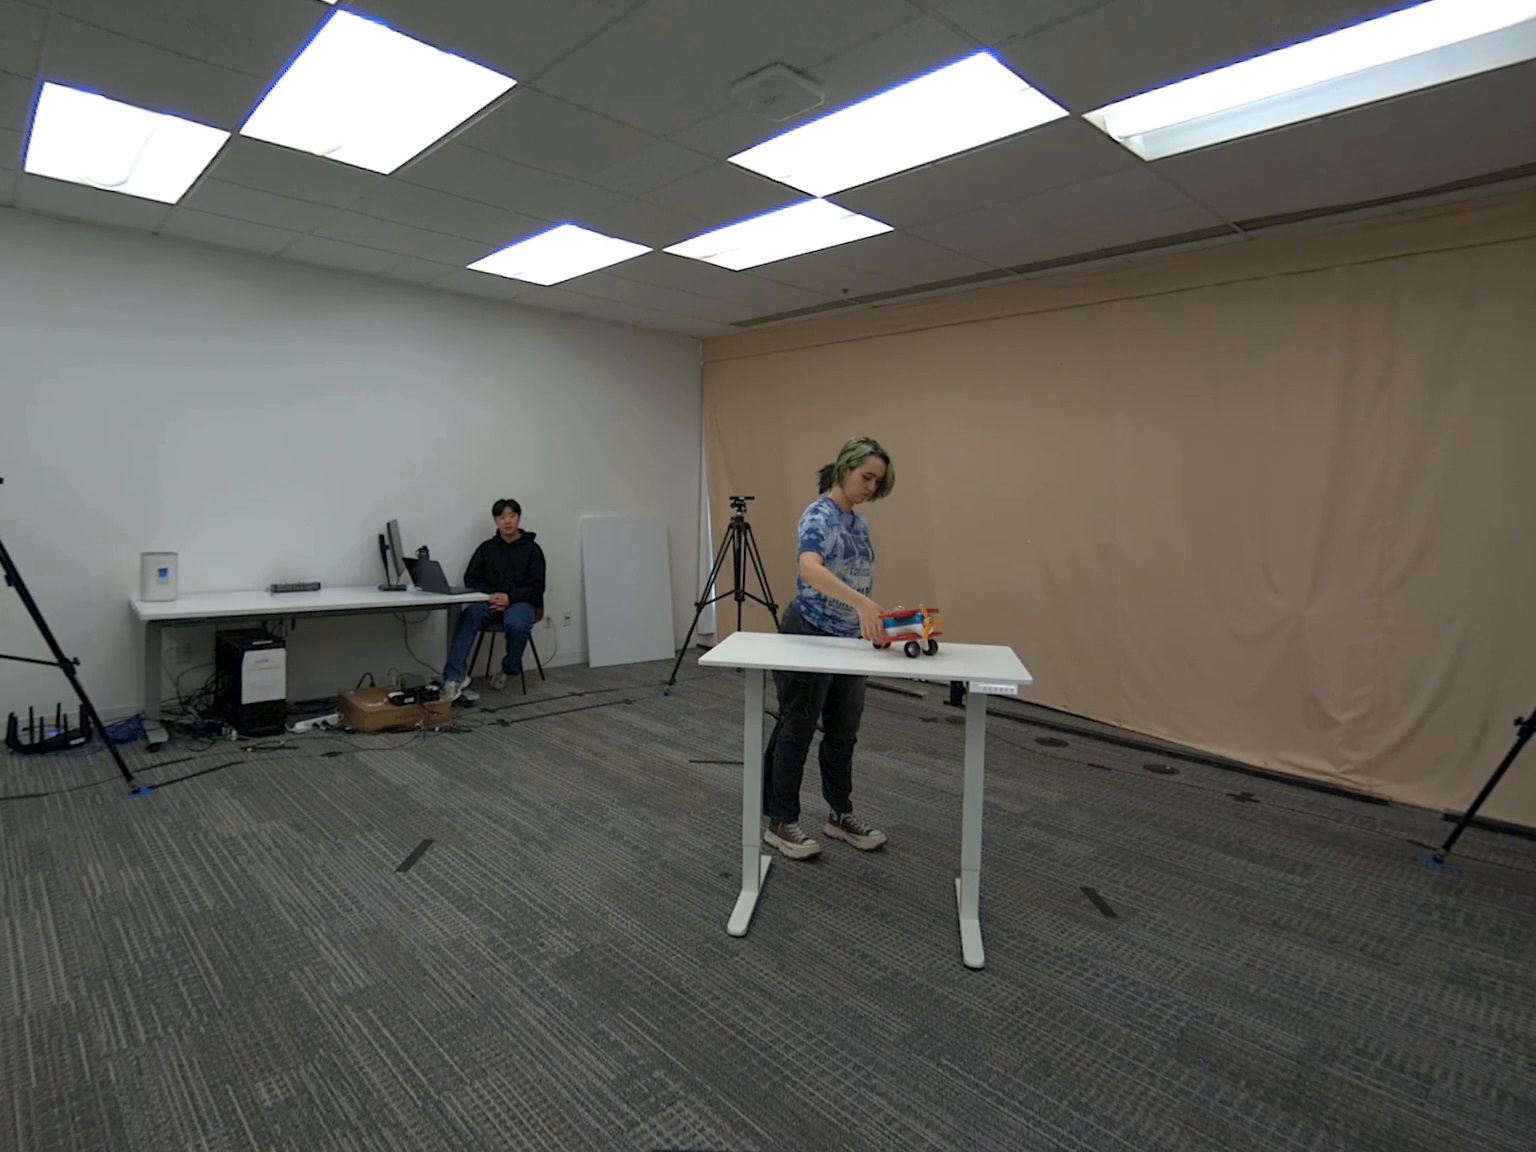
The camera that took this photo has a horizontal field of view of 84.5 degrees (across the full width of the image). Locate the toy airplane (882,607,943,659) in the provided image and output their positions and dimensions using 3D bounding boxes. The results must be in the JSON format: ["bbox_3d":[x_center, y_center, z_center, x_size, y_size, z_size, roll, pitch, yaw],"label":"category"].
[{"bbox_3d":[0.441,0.185,2.833,0.264,0.156,0.247,4,5,24],"label":"toy airplane"}]
